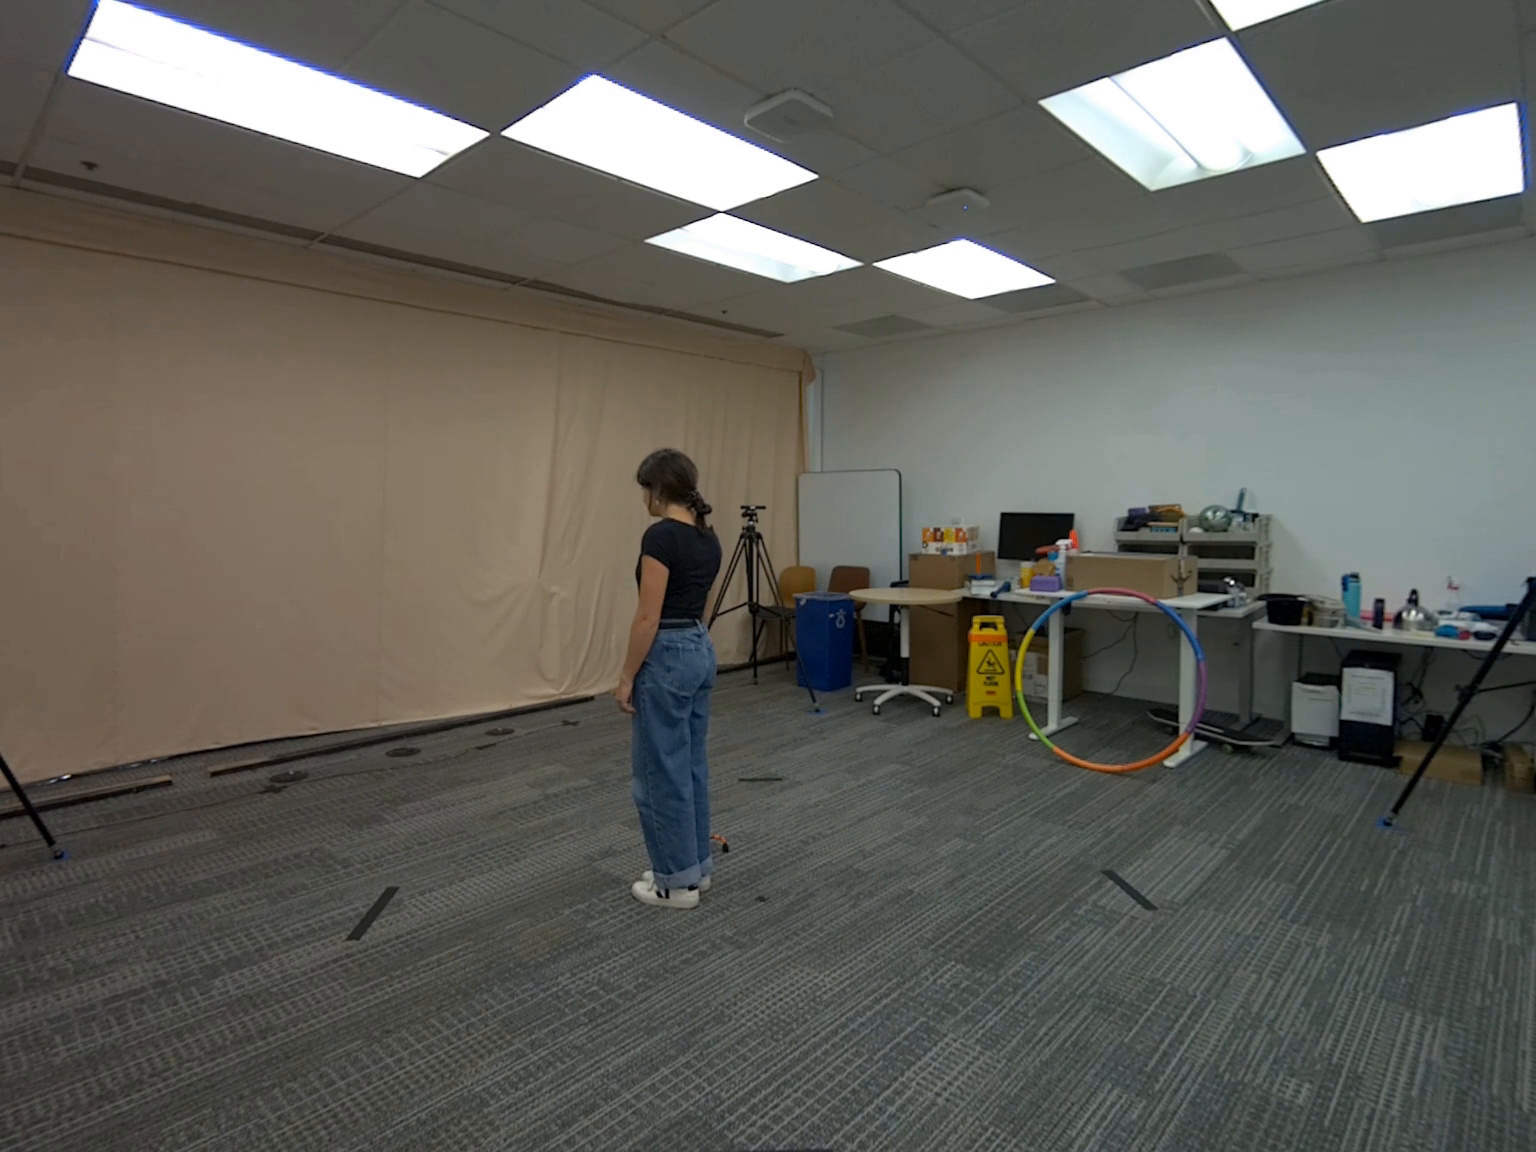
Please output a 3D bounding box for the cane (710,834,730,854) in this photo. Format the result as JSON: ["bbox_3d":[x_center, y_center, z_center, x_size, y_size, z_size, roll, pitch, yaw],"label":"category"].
[{"bbox_3d":[-0.279,0.660,3.371,0.212,0.906,0.148,0,3,29],"label":"cane"}]
